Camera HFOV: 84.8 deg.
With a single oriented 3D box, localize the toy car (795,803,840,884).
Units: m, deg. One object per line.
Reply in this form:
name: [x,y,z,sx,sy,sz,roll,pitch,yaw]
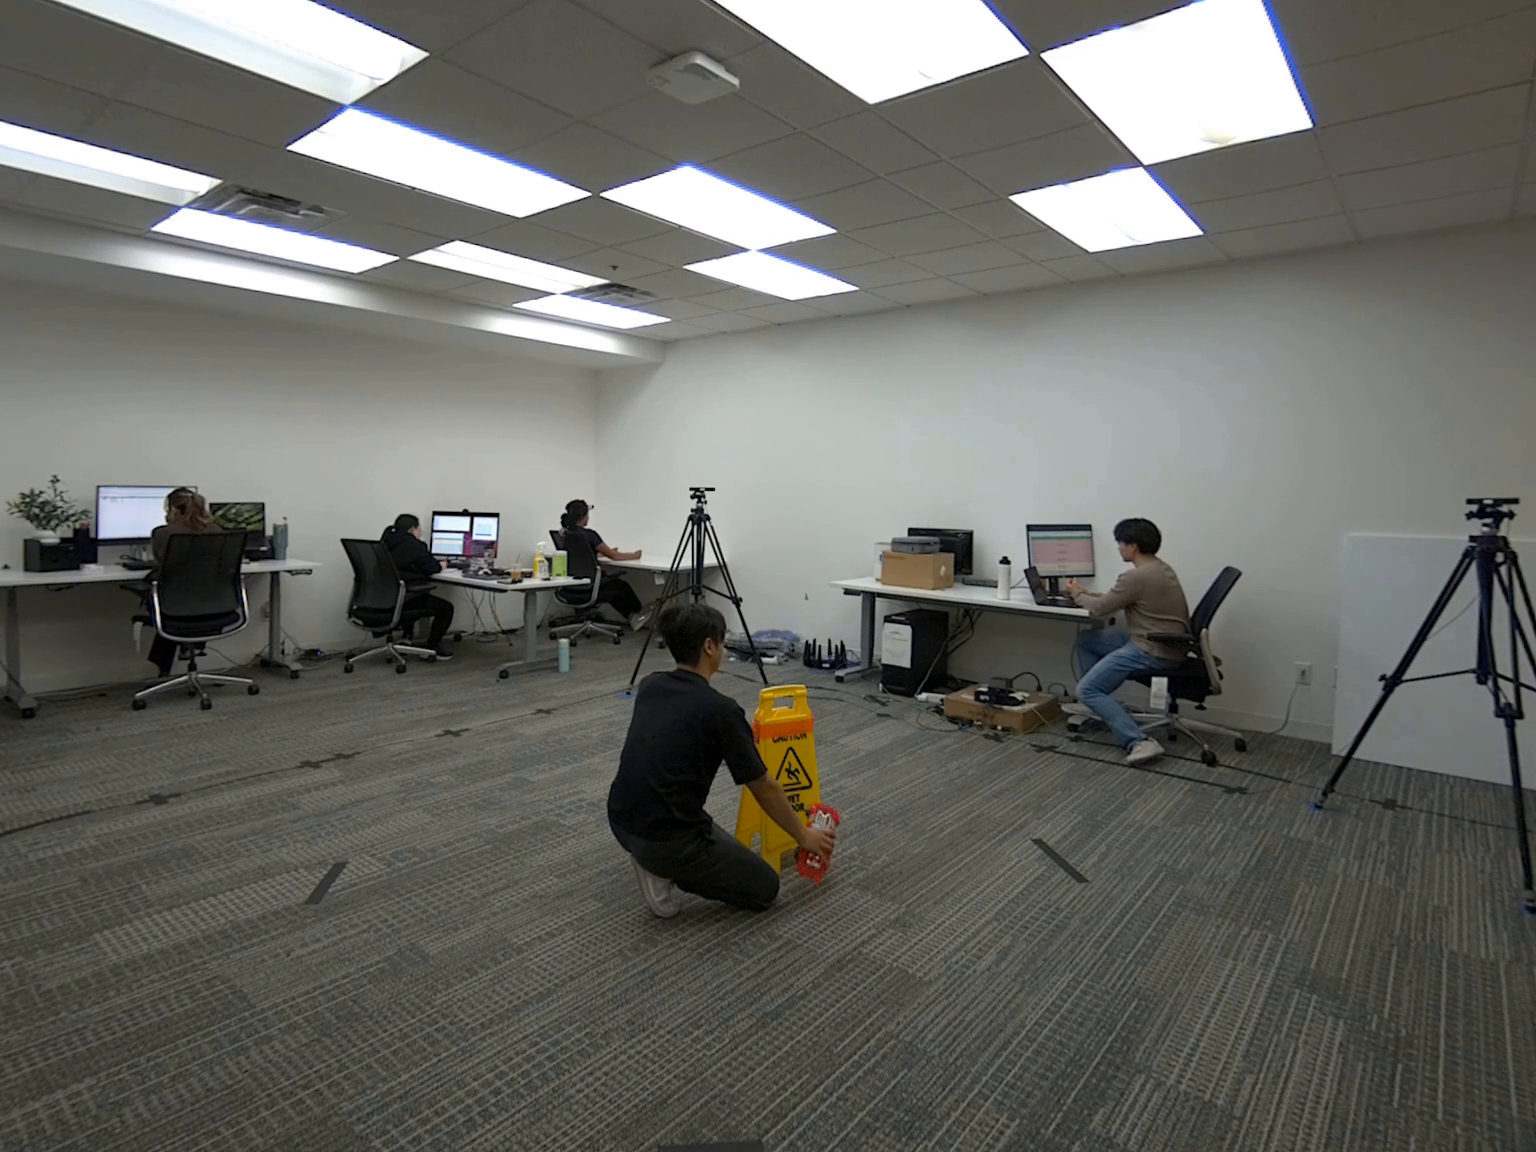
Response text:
toy car: [0.155,0.905,2.911,0.130,0.259,0.082,19,-34,-3]
